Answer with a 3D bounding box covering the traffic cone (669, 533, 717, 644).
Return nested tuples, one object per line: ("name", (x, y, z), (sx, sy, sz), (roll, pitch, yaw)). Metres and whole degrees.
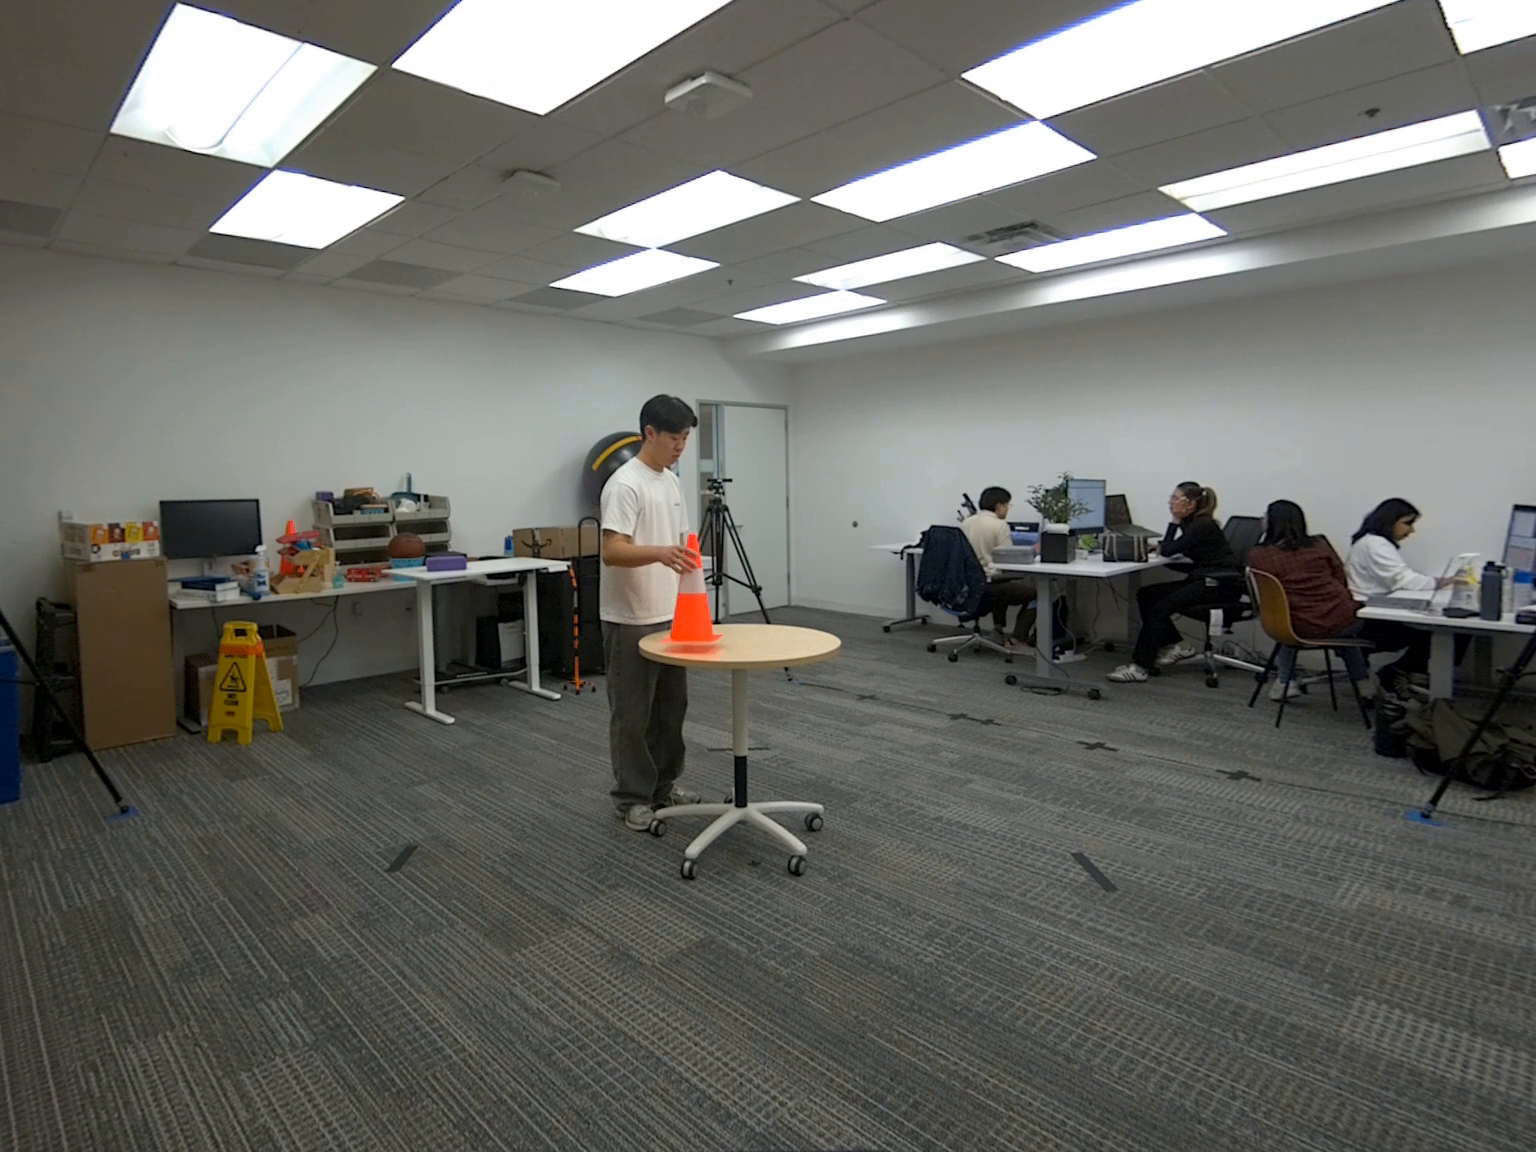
("traffic cone", (-0.272, 0.037, 3.092), (0.206, 0.383, 0.203), (-2, 3, 14))
